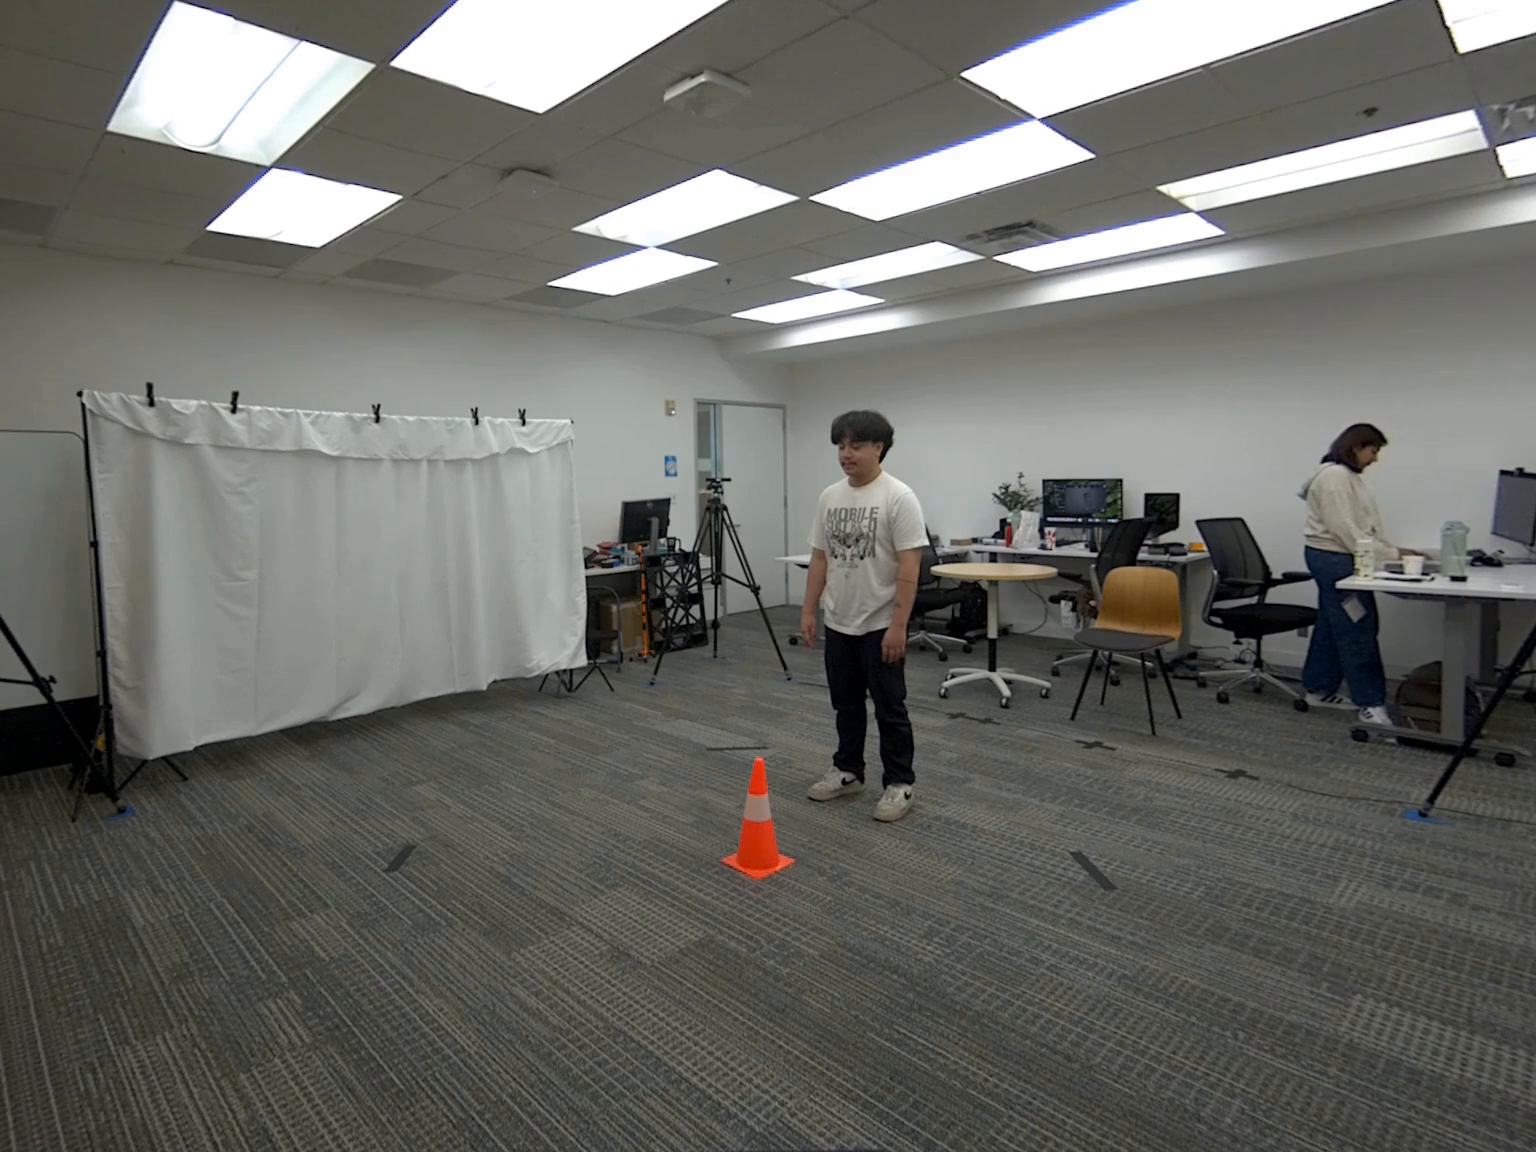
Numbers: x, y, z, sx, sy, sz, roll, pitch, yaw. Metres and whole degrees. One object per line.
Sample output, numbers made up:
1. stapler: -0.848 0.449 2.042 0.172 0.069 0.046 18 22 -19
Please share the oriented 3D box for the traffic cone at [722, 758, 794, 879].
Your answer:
1. traffic cone: -0.033 0.859 3.103 0.211 0.382 0.198 4 6 40
